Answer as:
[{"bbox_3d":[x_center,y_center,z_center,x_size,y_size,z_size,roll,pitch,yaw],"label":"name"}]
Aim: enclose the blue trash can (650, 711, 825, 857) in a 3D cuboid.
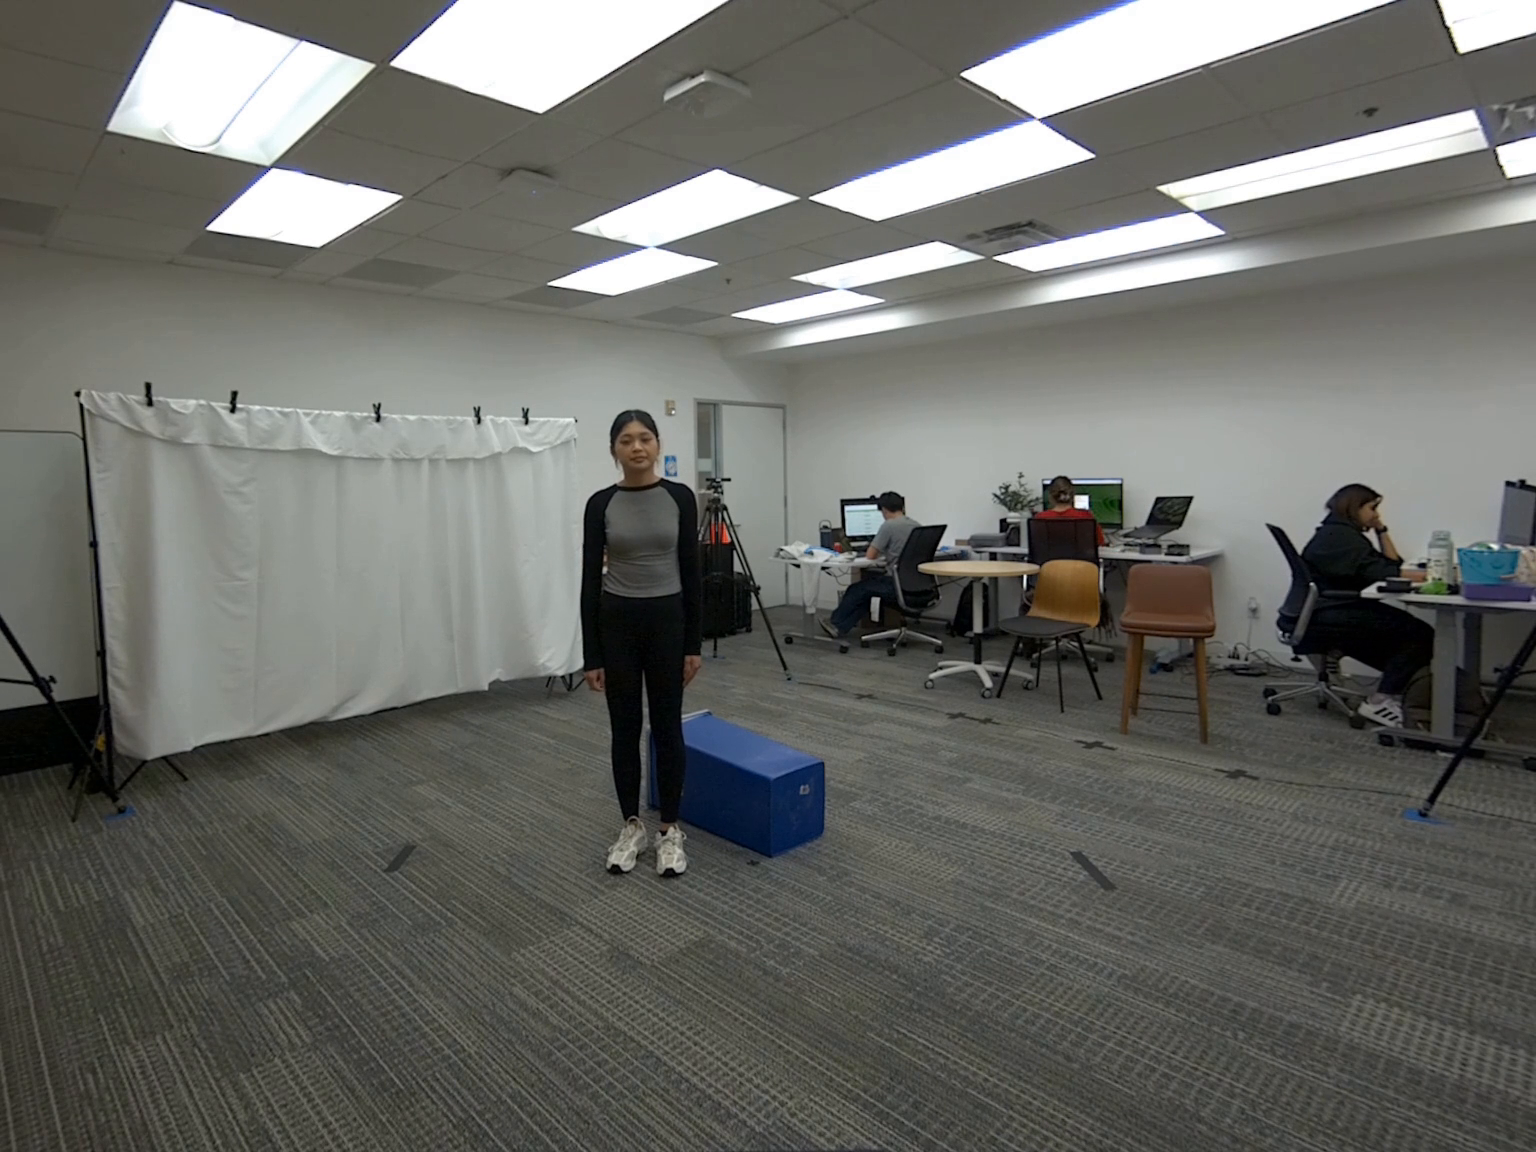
[{"bbox_3d":[-0.129,0.827,3.485,0.368,0.372,0.736,-5,9,-44],"label":"blue trash can"}]
